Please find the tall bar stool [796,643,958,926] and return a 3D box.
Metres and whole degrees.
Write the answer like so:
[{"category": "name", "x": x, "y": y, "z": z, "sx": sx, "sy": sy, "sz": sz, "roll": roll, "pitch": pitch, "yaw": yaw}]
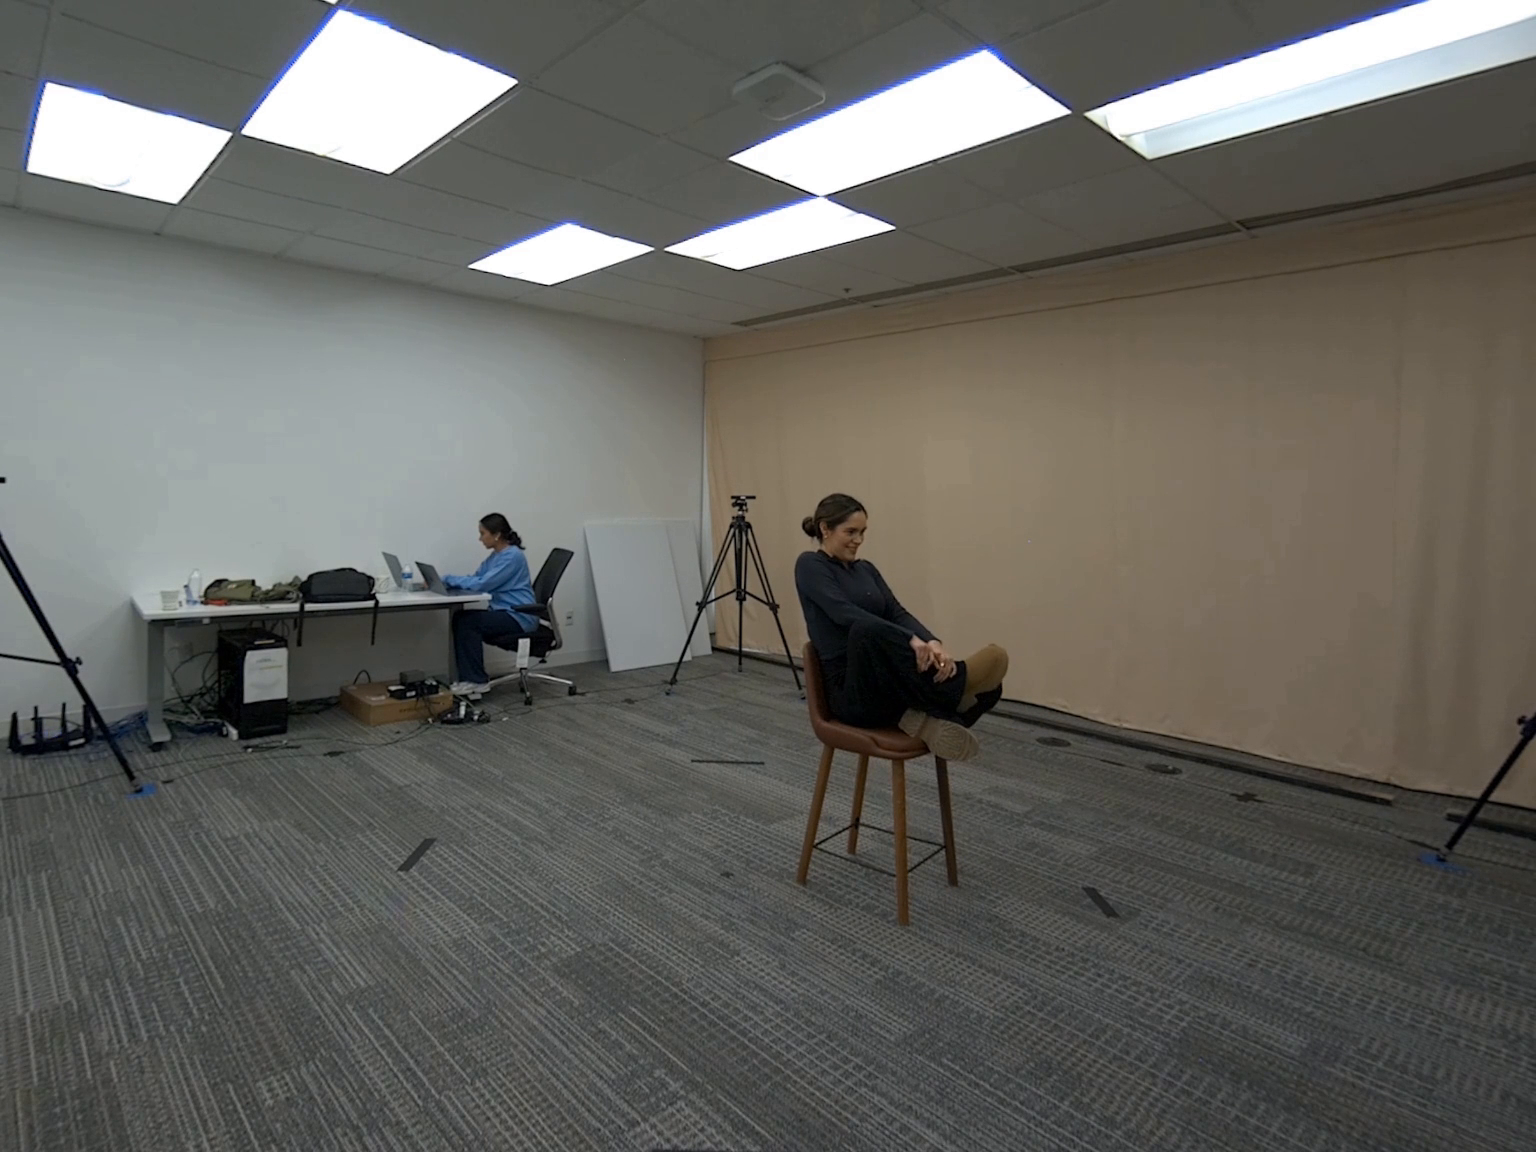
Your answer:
[{"category": "tall bar stool", "x": 0.393, "y": 0.687, "z": 3.035, "sx": 0.479, "sy": 0.889, "sz": 0.446, "roll": 2, "pitch": 2, "yaw": 39}]
